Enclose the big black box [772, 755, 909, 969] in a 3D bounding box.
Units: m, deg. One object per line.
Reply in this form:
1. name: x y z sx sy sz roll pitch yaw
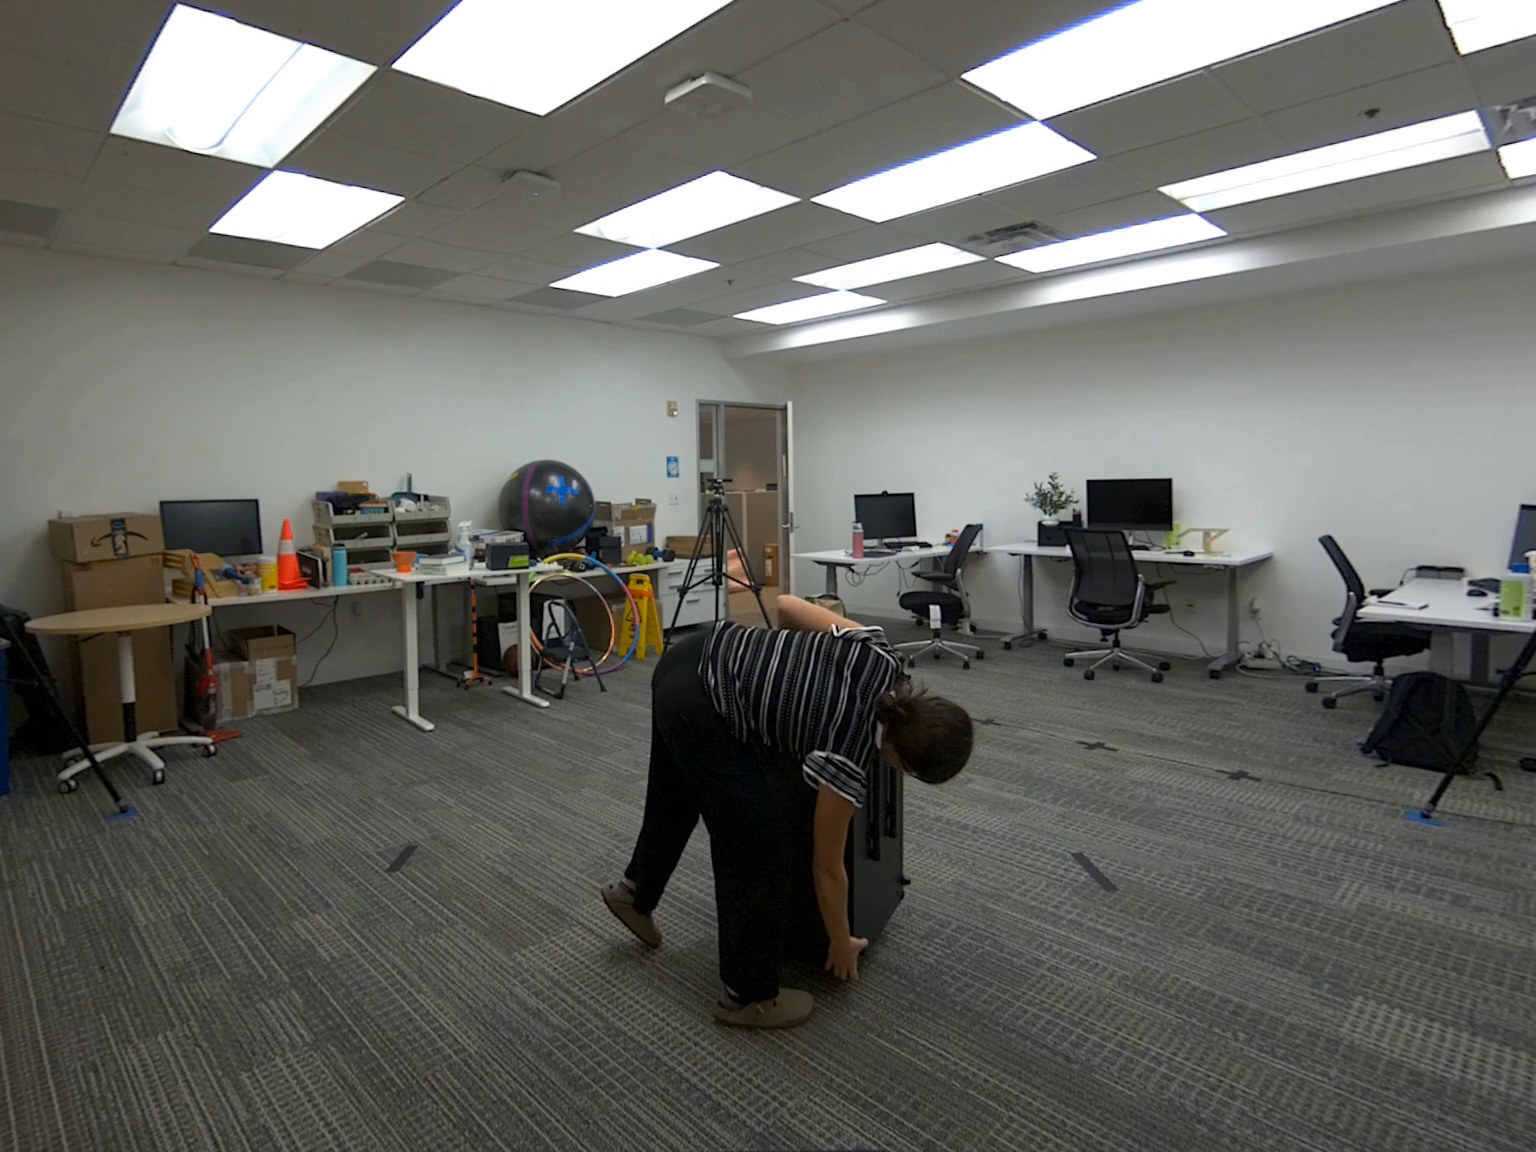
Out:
1. big black box: 0.181 0.686 2.548 0.407 0.857 0.510 4 6 28
